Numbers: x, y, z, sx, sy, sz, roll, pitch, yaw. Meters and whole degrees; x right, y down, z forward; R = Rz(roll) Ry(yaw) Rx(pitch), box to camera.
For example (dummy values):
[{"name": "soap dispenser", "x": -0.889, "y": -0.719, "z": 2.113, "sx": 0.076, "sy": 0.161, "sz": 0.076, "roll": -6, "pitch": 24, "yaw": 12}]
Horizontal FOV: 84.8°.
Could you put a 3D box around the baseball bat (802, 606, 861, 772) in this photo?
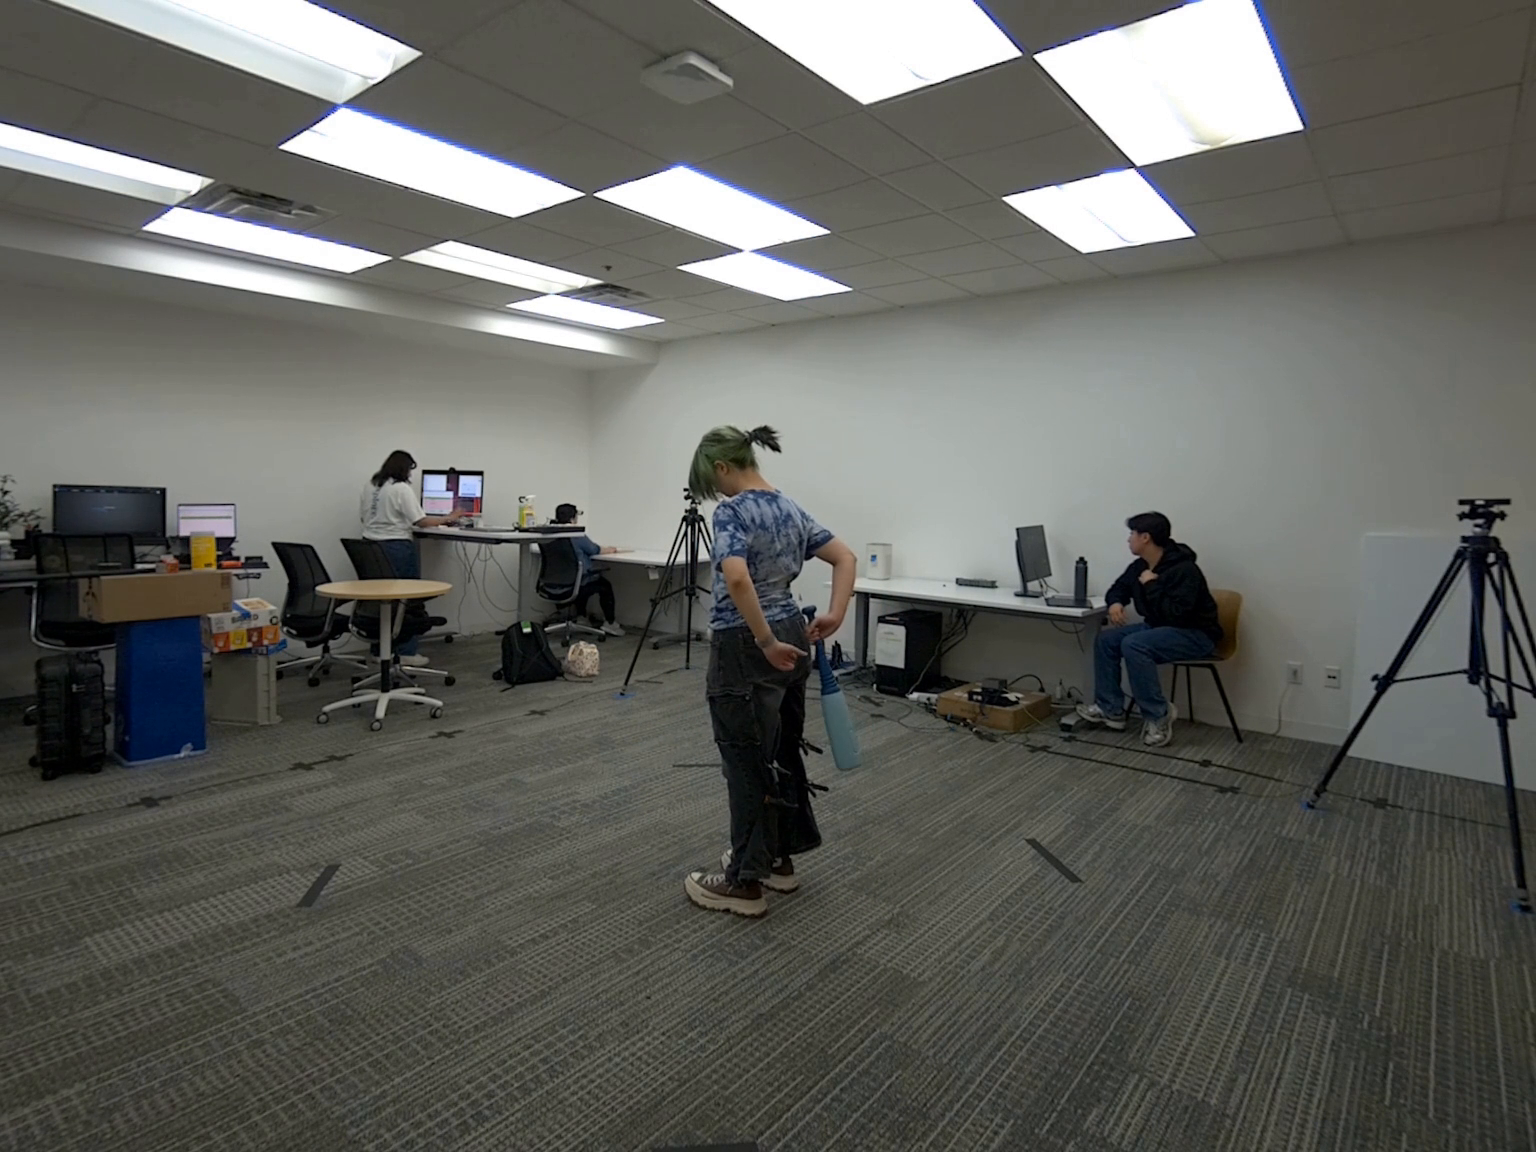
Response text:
[{"name": "baseball bat", "x": 0.189, "y": 0.365, "z": 2.797, "sx": 0.089, "sy": 0.545, "sz": 0.089, "roll": -13, "pitch": -3, "yaw": -2}]
